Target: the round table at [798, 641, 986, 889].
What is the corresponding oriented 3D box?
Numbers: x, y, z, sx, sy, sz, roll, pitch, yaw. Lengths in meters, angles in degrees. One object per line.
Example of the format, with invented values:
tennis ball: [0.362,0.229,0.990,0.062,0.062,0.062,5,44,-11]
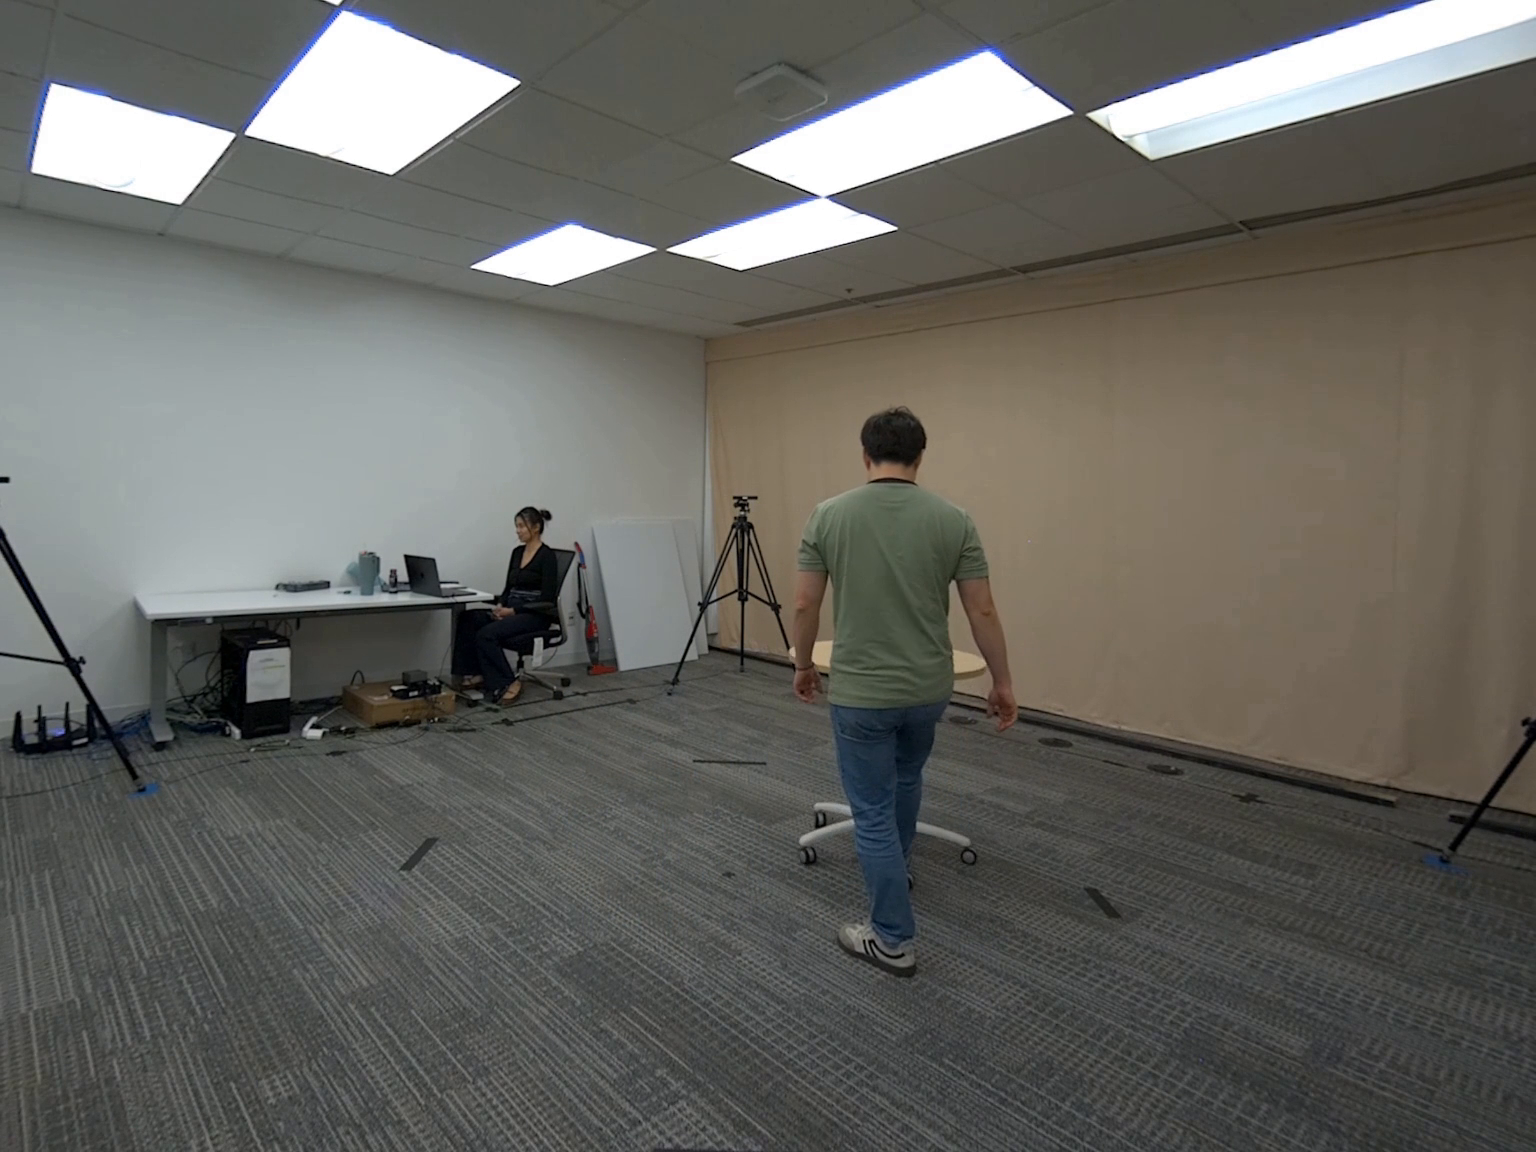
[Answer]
round table: [0.453,0.710,3.334,0.763,0.792,0.766,2,4,-1]
